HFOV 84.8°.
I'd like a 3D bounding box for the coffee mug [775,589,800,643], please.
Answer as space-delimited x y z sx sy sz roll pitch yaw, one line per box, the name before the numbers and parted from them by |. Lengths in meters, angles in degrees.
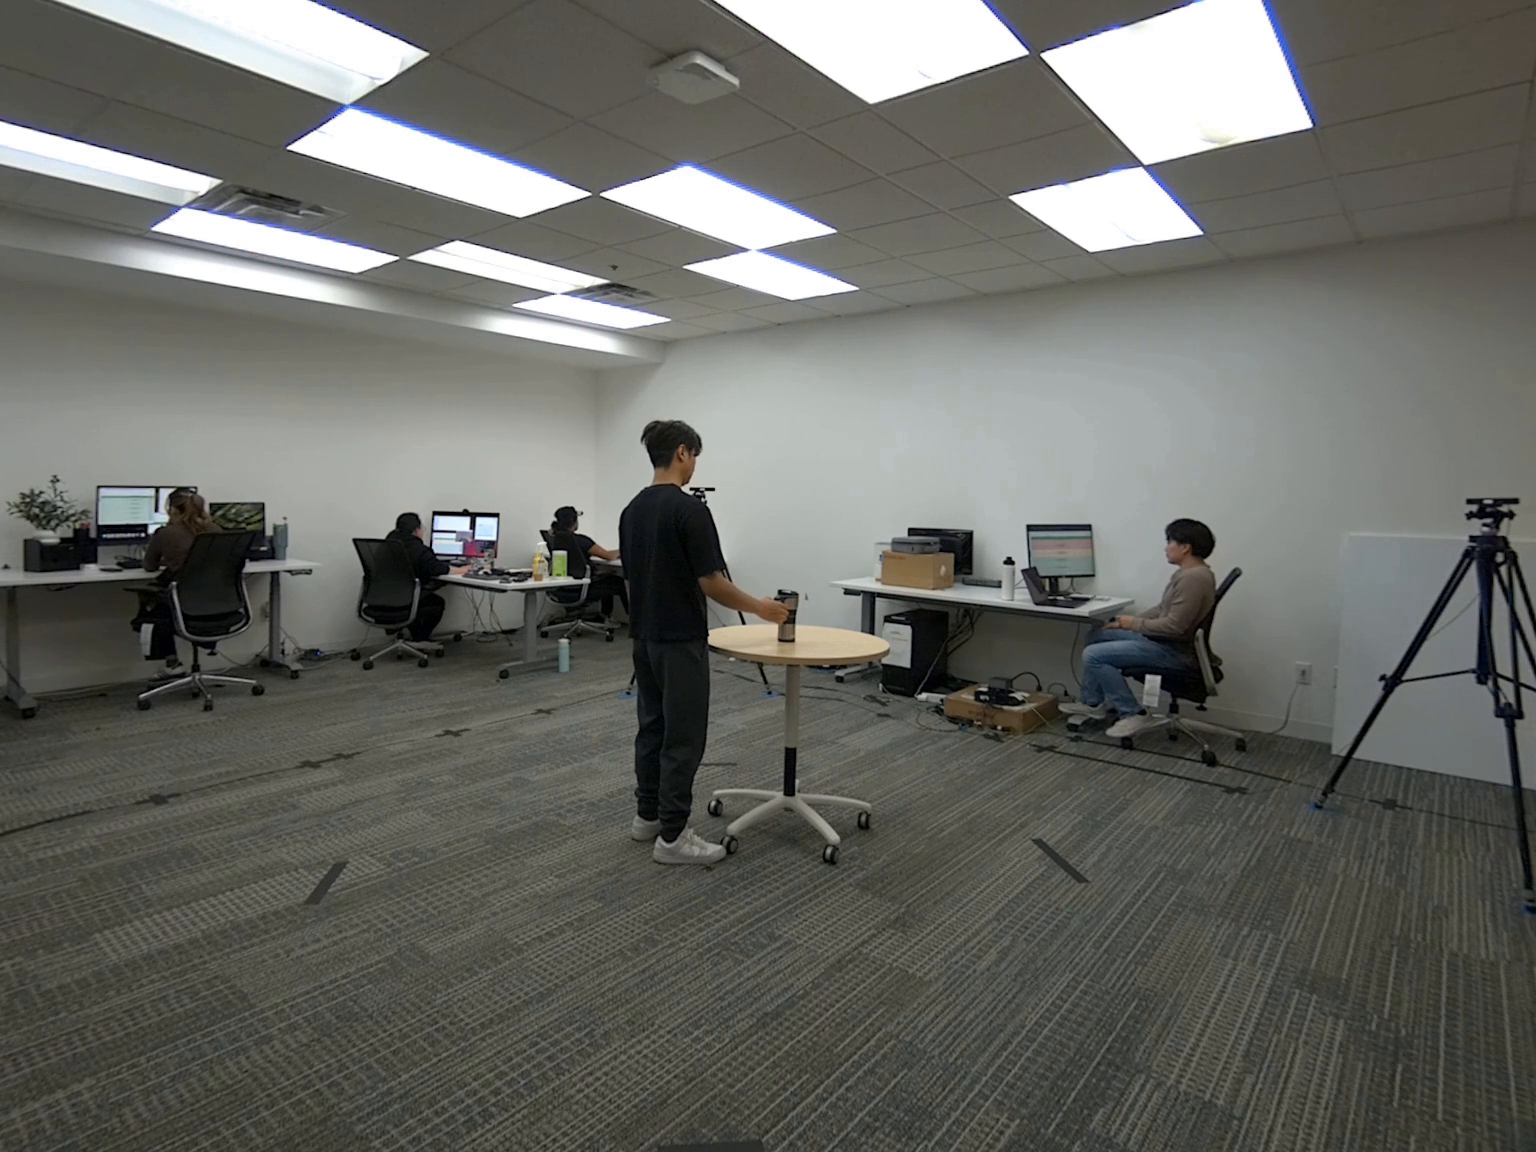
coffee mug | 0.046 0.161 3.406 0.119 0.202 0.090 3 6 -23
